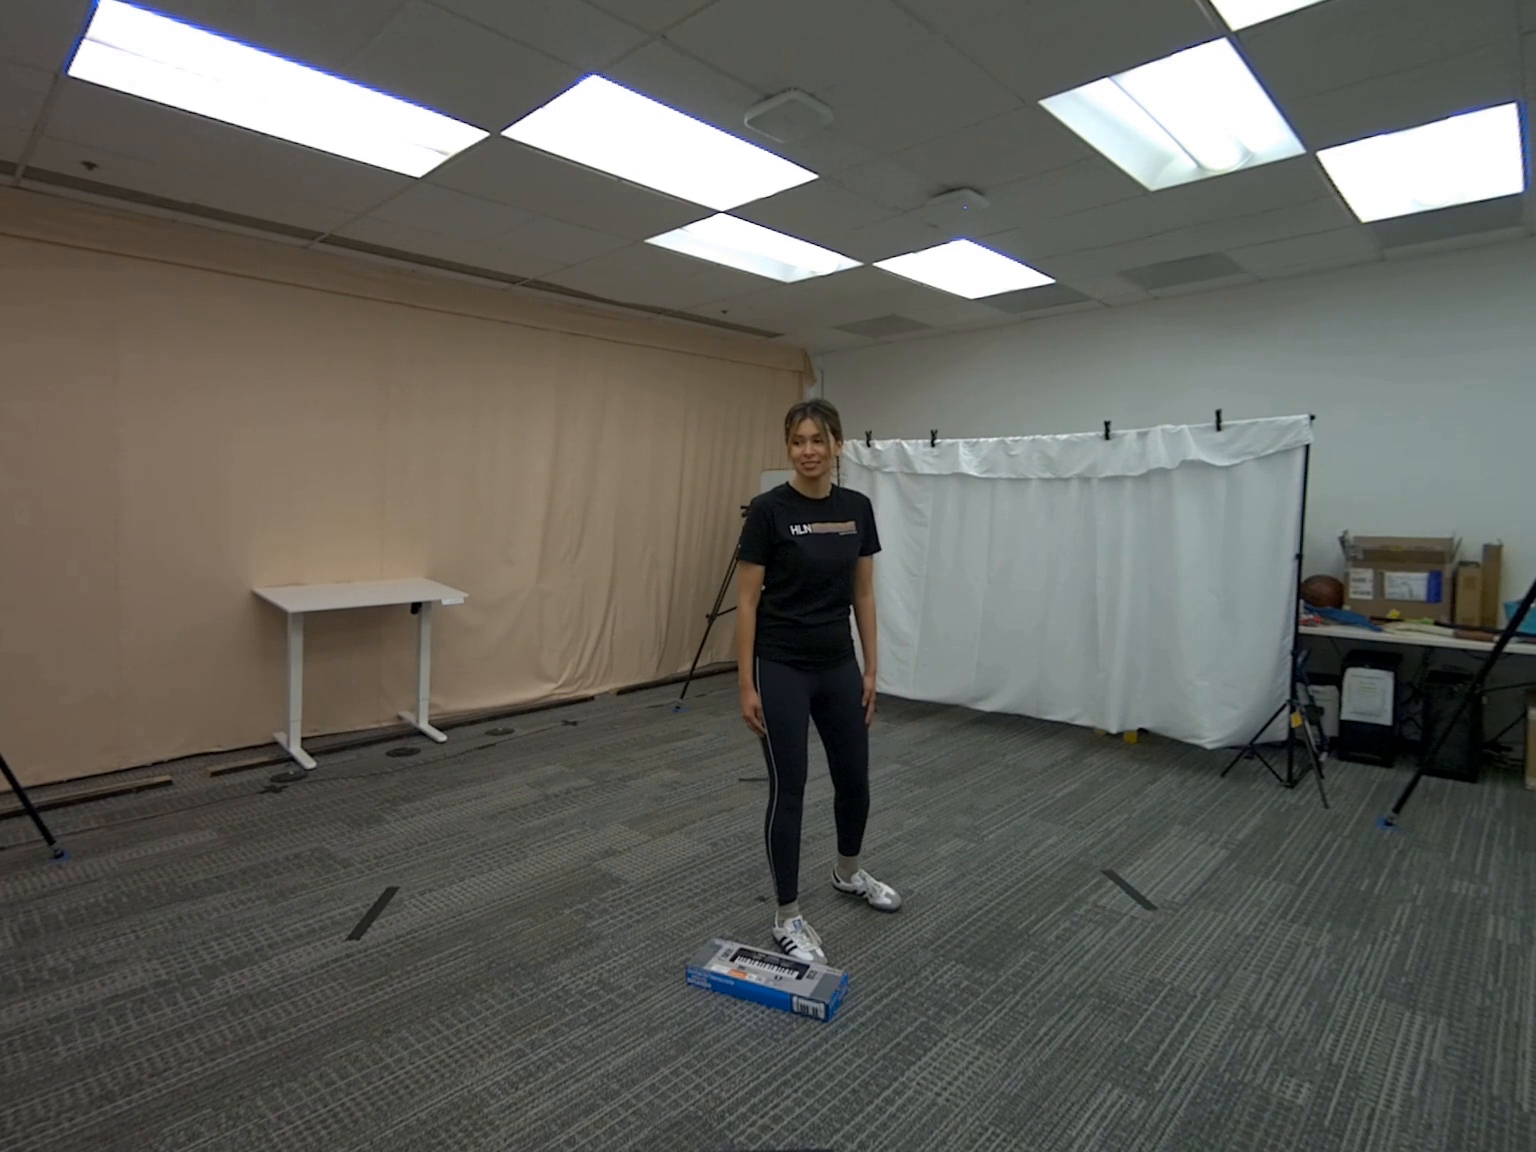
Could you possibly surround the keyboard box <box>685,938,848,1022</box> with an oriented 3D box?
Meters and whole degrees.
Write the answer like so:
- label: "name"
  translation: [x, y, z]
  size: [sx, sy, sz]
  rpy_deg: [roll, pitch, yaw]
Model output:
- label: "keyboard box"
  translation: [-0.004, 1.161, 2.429]
  size: [0.448, 0.059, 0.172]
  rpy_deg: [2, 6, 26]
